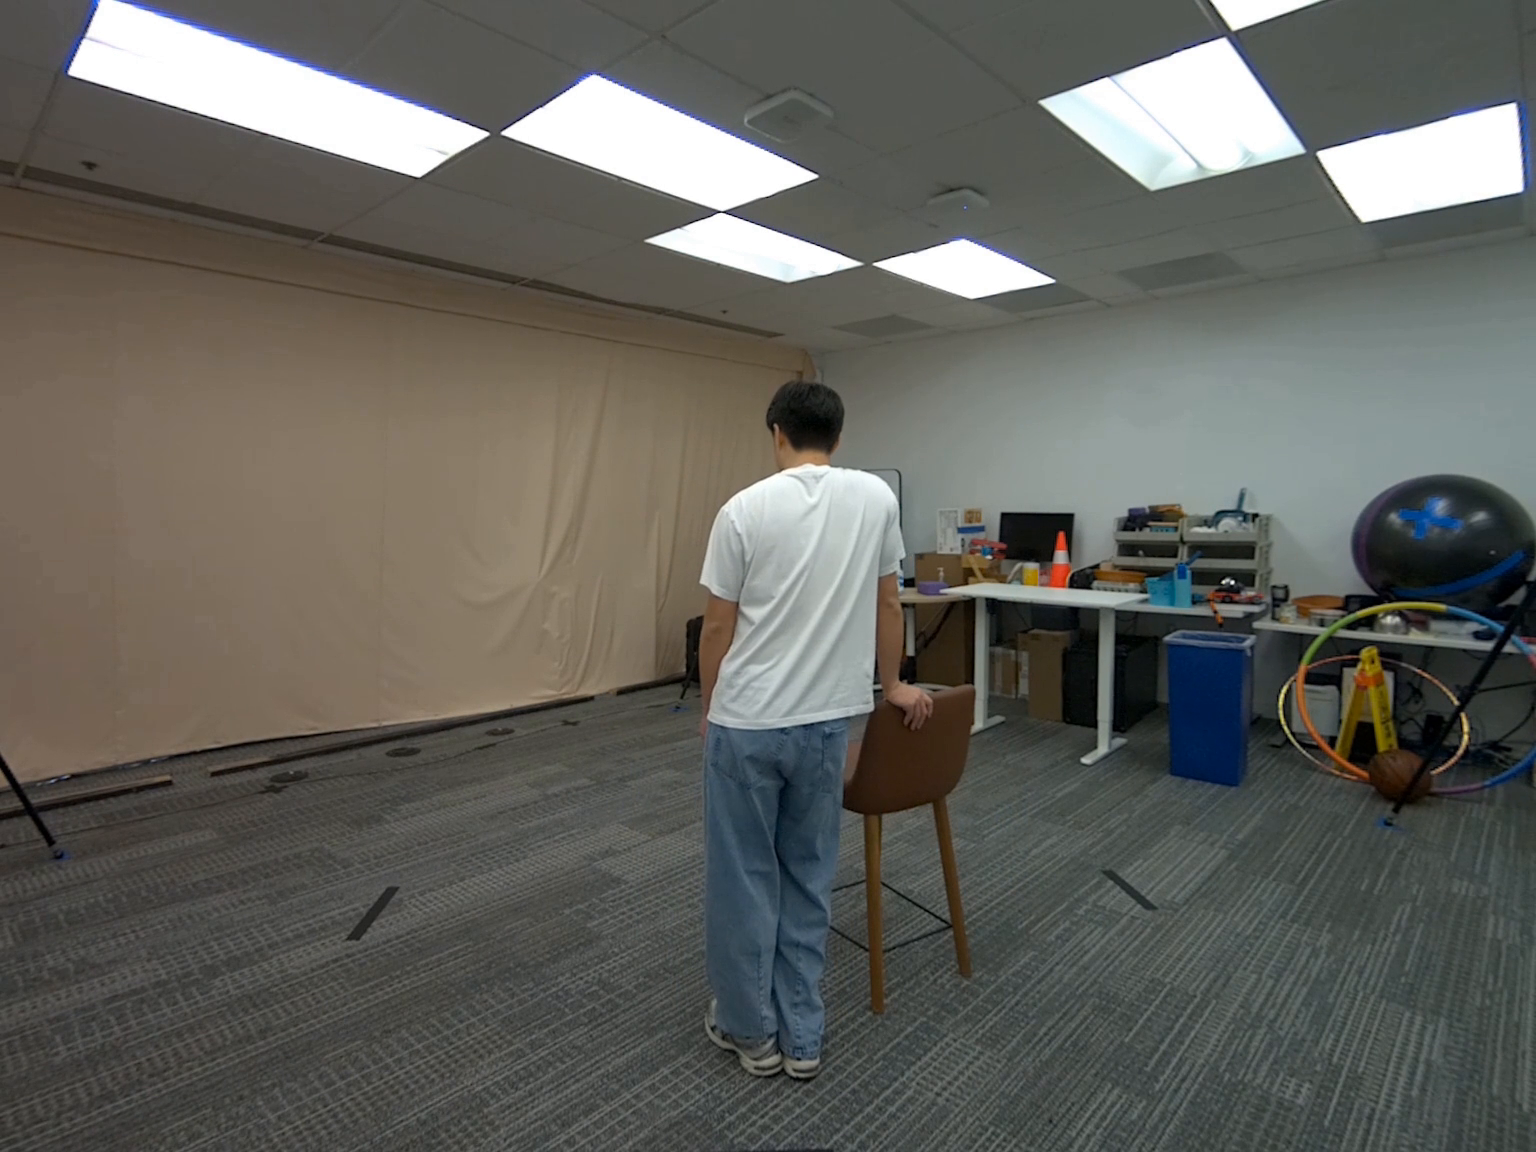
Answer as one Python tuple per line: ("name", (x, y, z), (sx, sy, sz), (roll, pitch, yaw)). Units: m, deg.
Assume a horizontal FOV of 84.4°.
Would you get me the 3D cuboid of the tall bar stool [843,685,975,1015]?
("tall bar stool", (0.340, 0.742, 2.560), (0.443, 0.887, 0.482), (-2, 6, -34))
